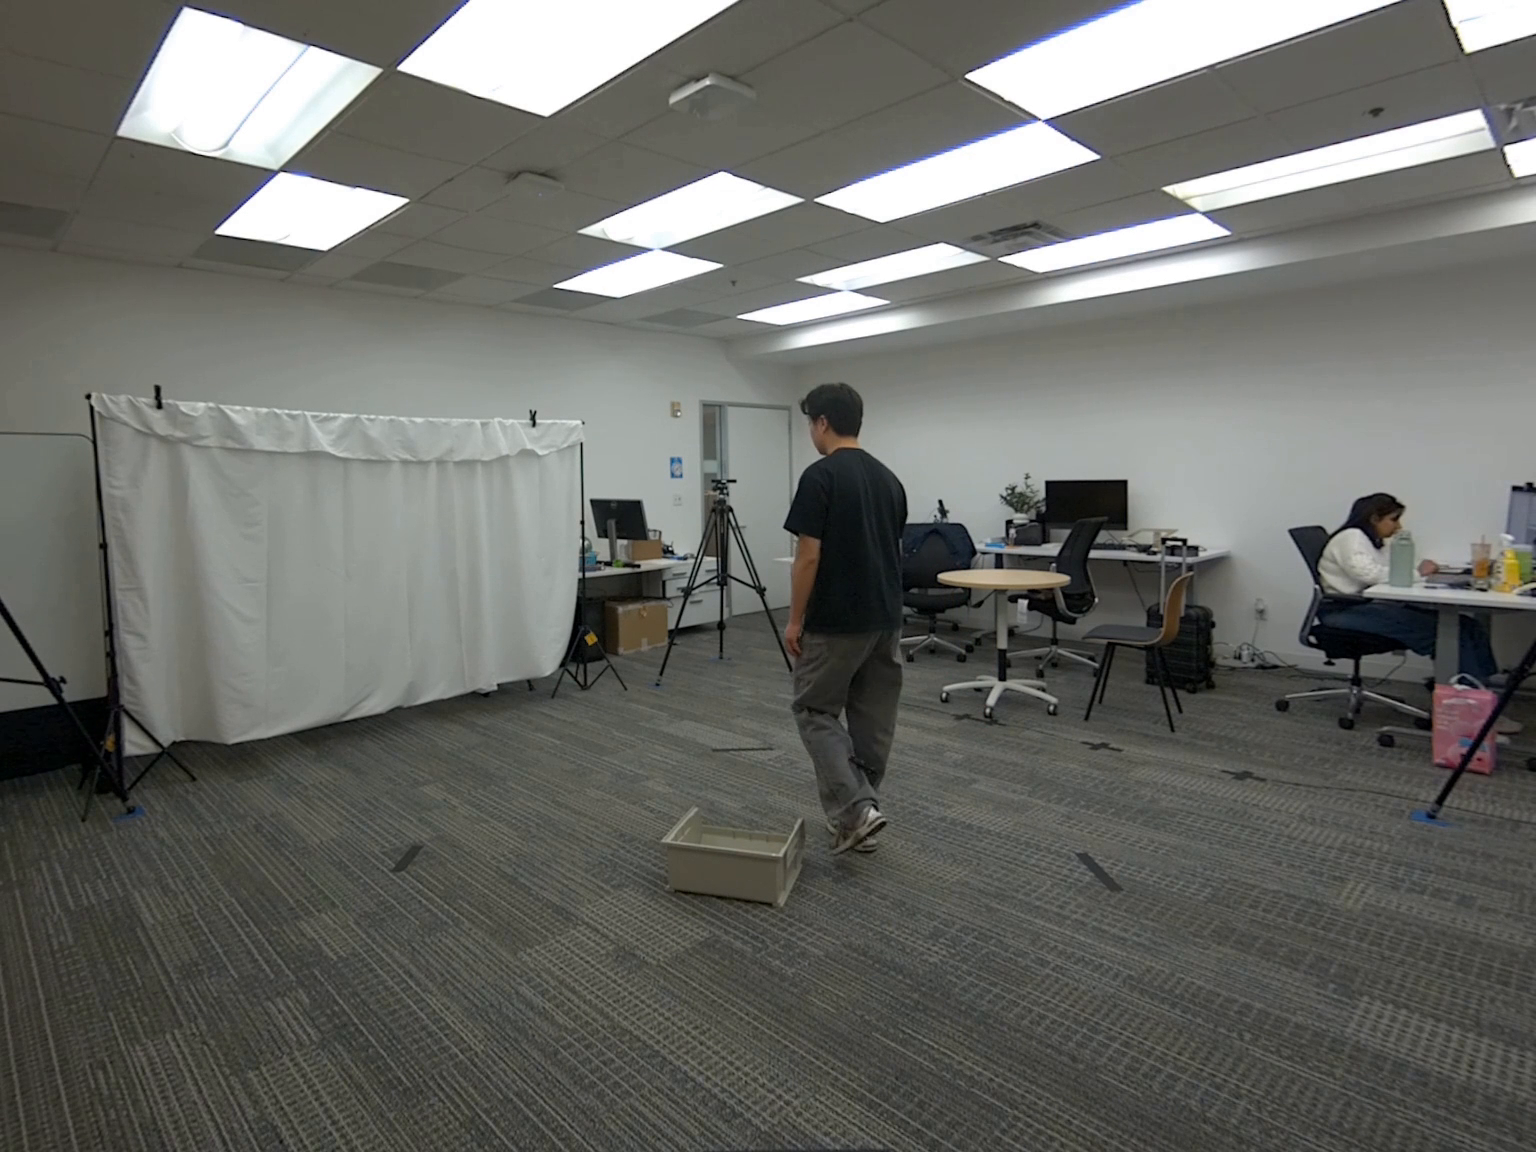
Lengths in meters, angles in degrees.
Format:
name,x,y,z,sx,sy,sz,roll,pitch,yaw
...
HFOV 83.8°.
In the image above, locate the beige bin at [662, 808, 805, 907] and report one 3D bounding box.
name,x,y,z,sx,sy,sz,roll,pitch,yaw
beige bin,-0.110,0.971,3.008,0.429,0.188,0.373,1,7,16
